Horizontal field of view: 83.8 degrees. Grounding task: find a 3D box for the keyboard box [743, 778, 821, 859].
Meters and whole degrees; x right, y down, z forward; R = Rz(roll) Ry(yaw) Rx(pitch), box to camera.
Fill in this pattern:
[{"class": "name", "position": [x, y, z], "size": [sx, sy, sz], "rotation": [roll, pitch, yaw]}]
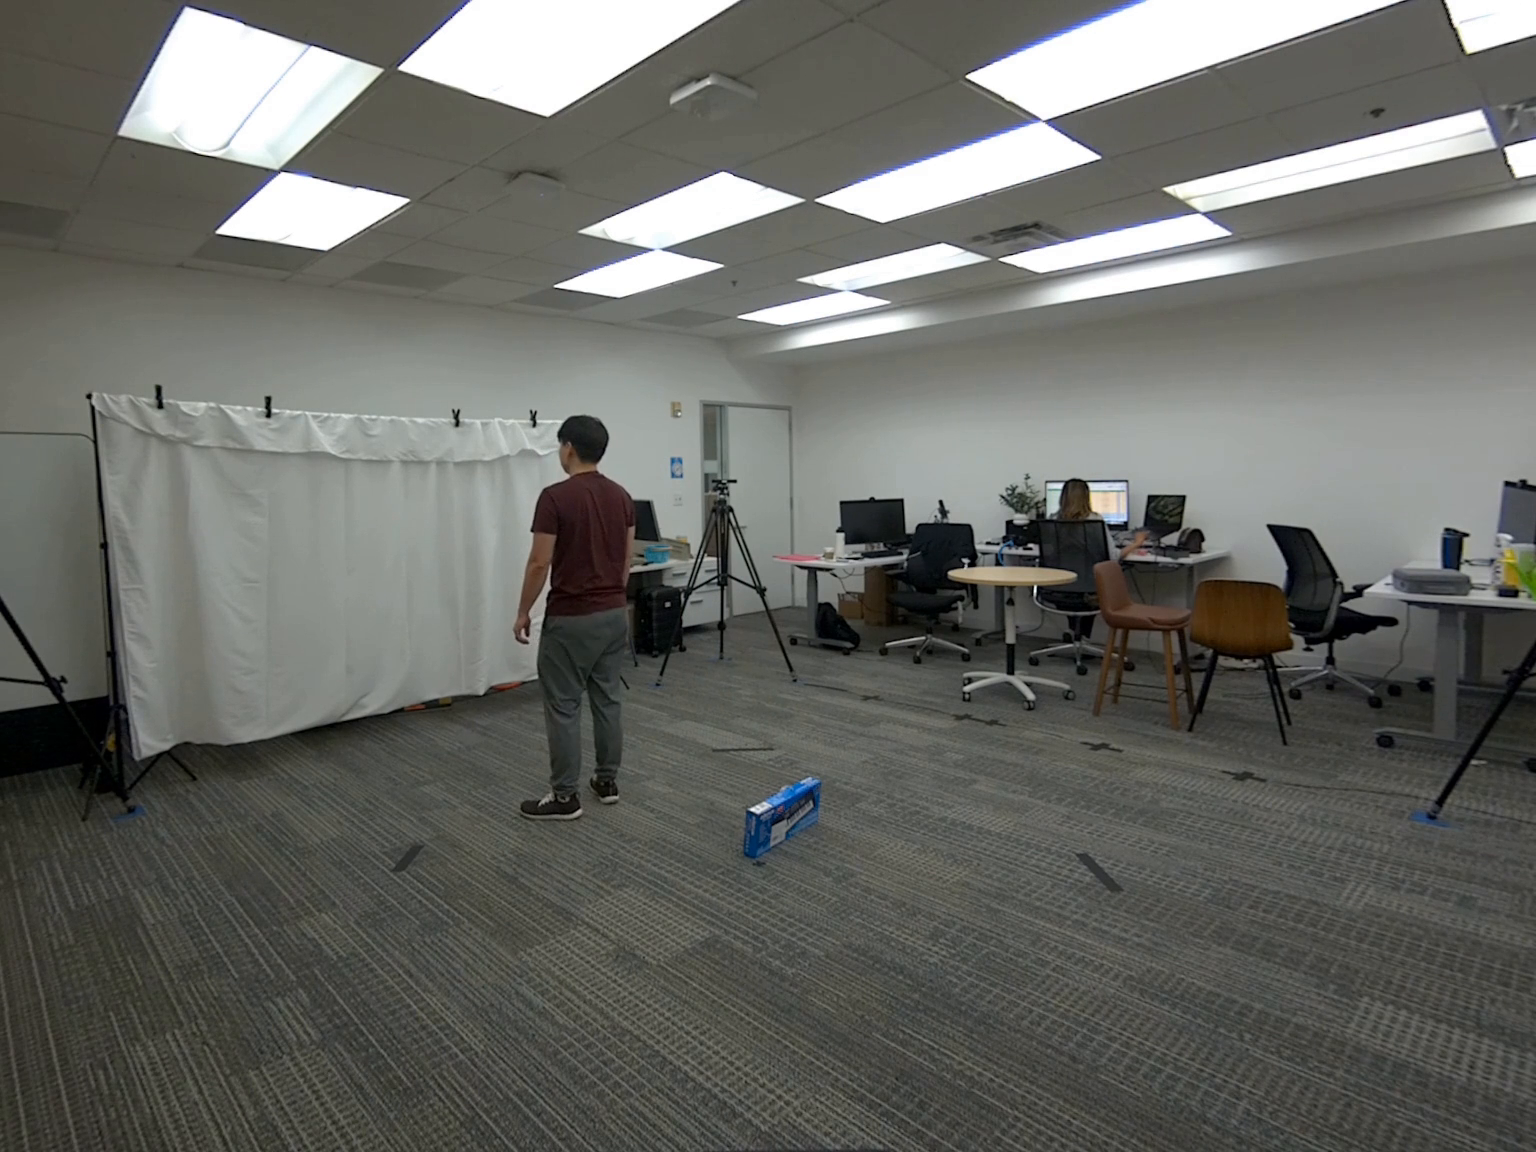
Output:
[{"class": "keyboard box", "position": [0.064, 0.935, 3.327], "size": [0.061, 0.175, 0.426], "rotation": [10, 11, 35]}]
